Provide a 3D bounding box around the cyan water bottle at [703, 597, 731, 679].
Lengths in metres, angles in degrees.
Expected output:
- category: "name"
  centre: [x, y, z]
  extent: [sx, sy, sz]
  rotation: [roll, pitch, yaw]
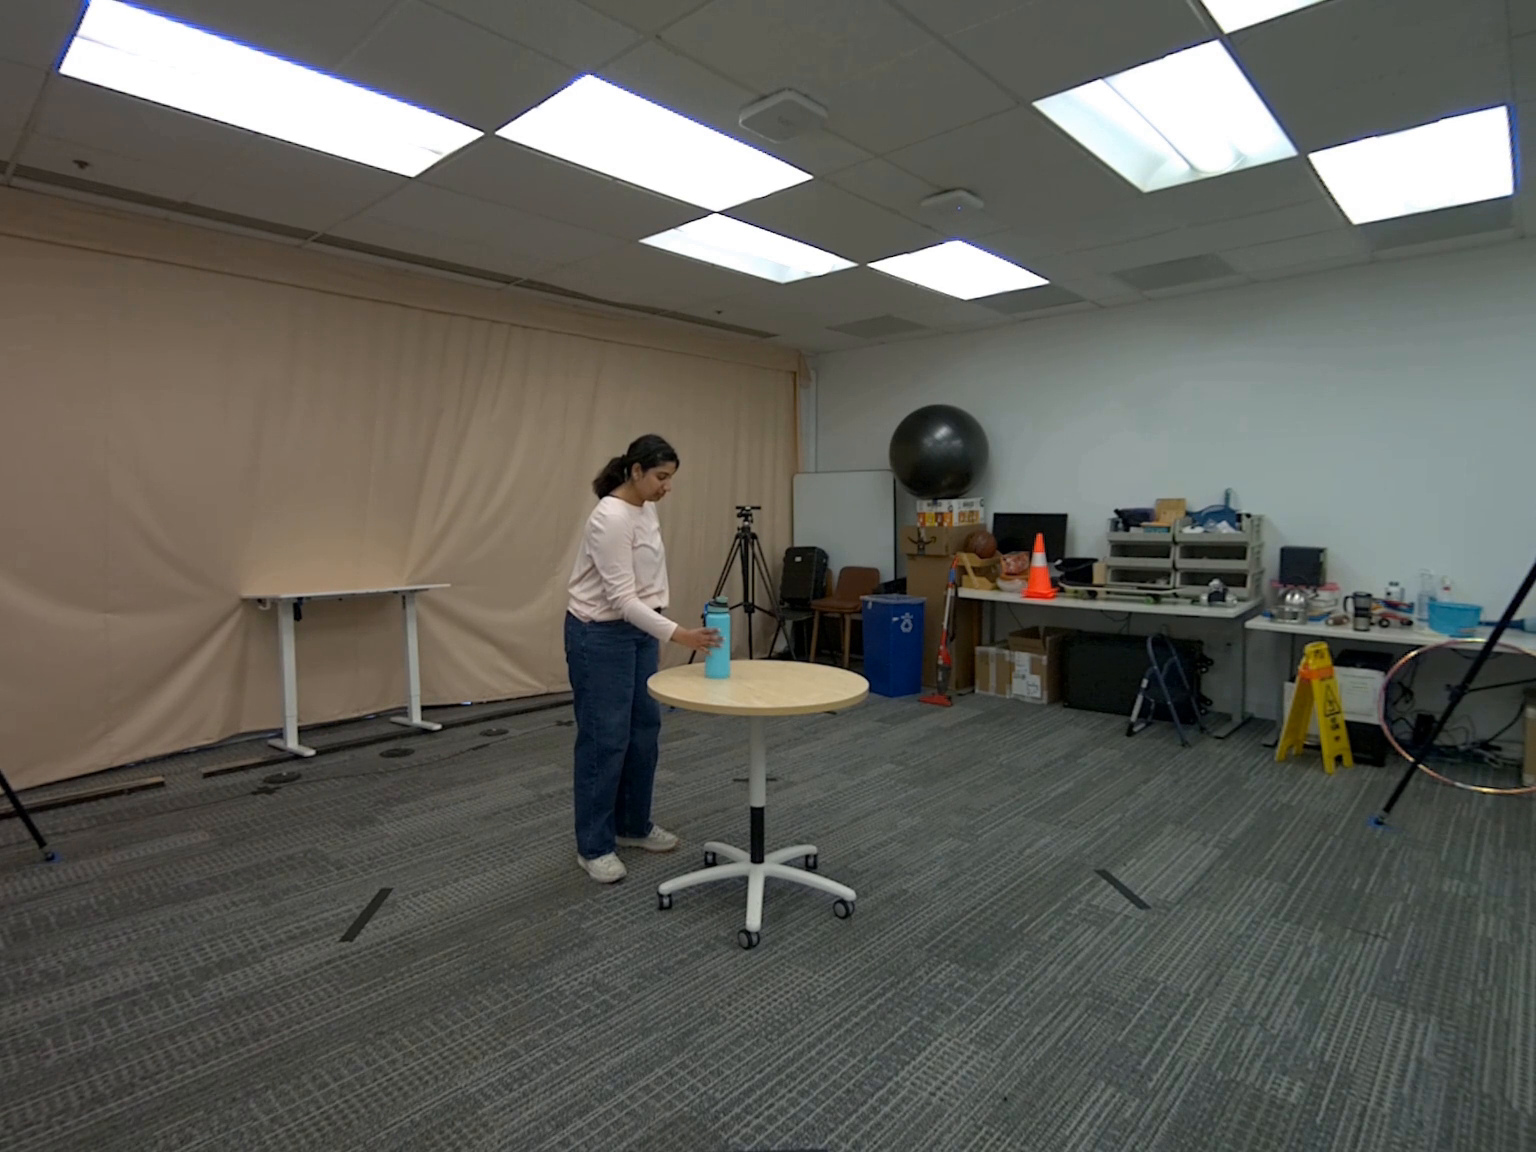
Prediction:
- category: "cyan water bottle"
  centre: [-0.176, 0.222, 2.996]
  extent: [0.092, 0.283, 0.092]
  rotation: [2, 3, -2]
